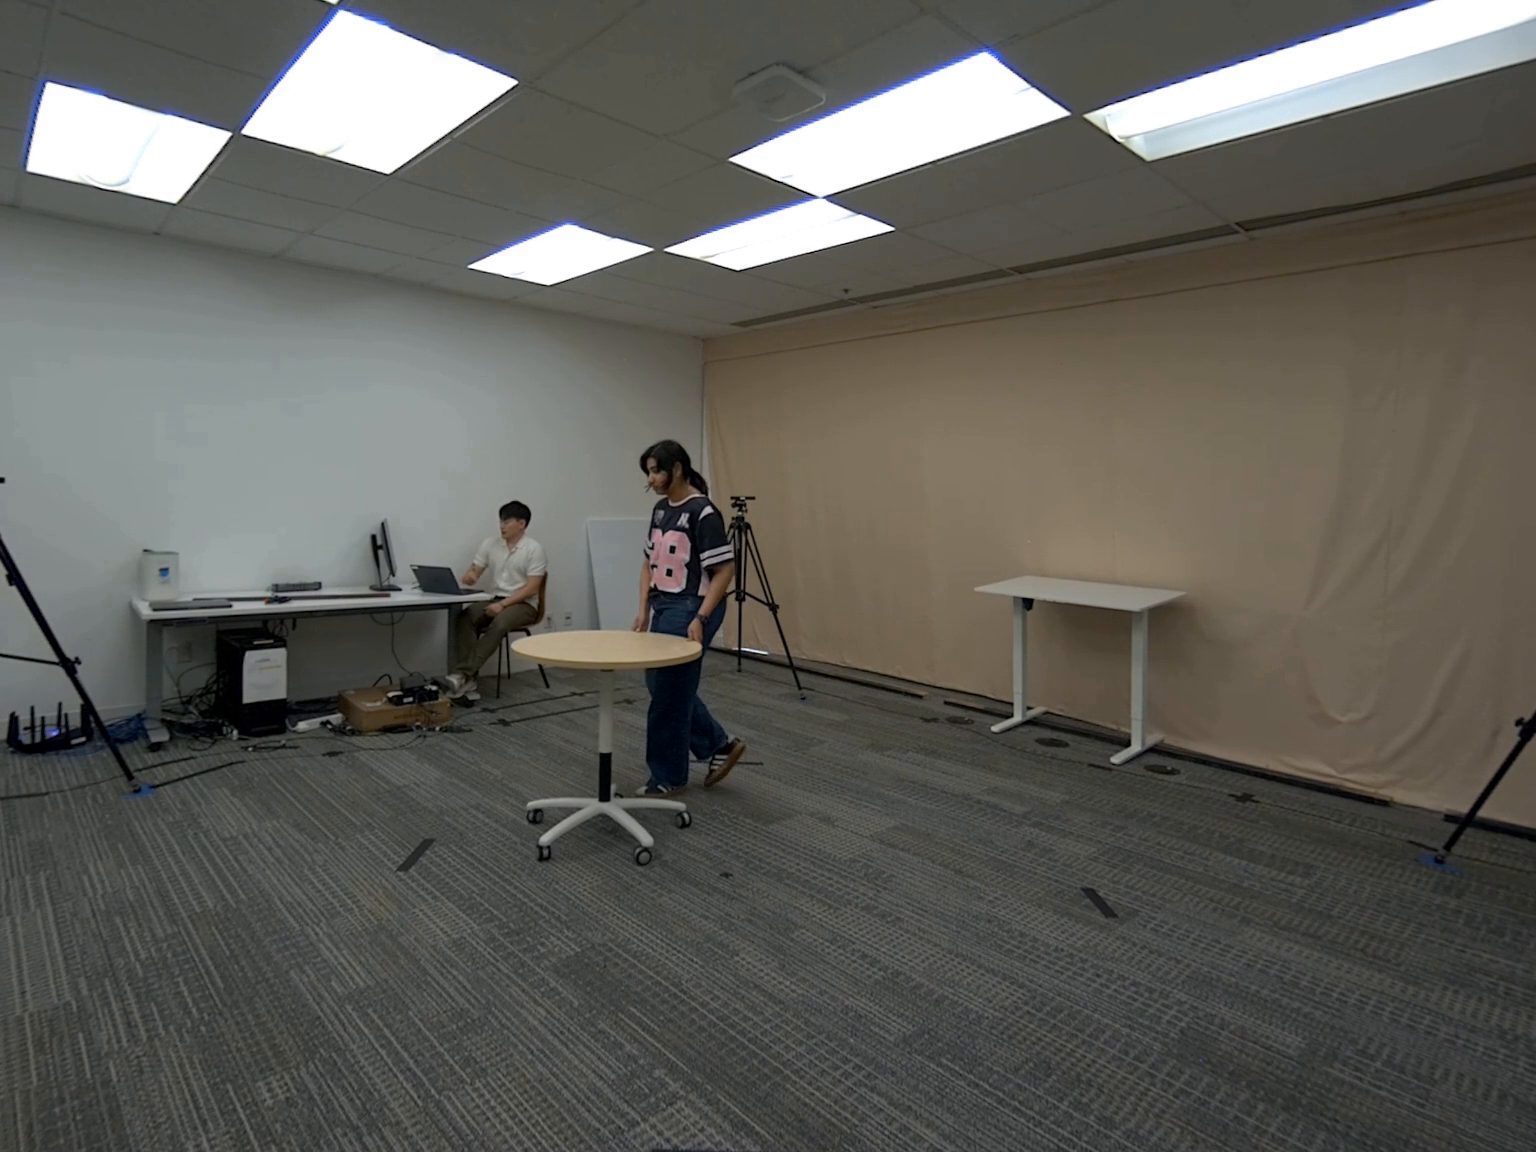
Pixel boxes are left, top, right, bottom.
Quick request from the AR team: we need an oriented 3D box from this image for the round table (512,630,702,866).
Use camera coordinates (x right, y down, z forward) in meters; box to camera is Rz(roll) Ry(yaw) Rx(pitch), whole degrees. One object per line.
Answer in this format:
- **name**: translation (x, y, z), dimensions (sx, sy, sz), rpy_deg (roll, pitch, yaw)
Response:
- **round table**: translation (-0.685, 0.672, 3.427), dimensions (0.784, 0.785, 0.787), rpy_deg (1, 3, -1)
